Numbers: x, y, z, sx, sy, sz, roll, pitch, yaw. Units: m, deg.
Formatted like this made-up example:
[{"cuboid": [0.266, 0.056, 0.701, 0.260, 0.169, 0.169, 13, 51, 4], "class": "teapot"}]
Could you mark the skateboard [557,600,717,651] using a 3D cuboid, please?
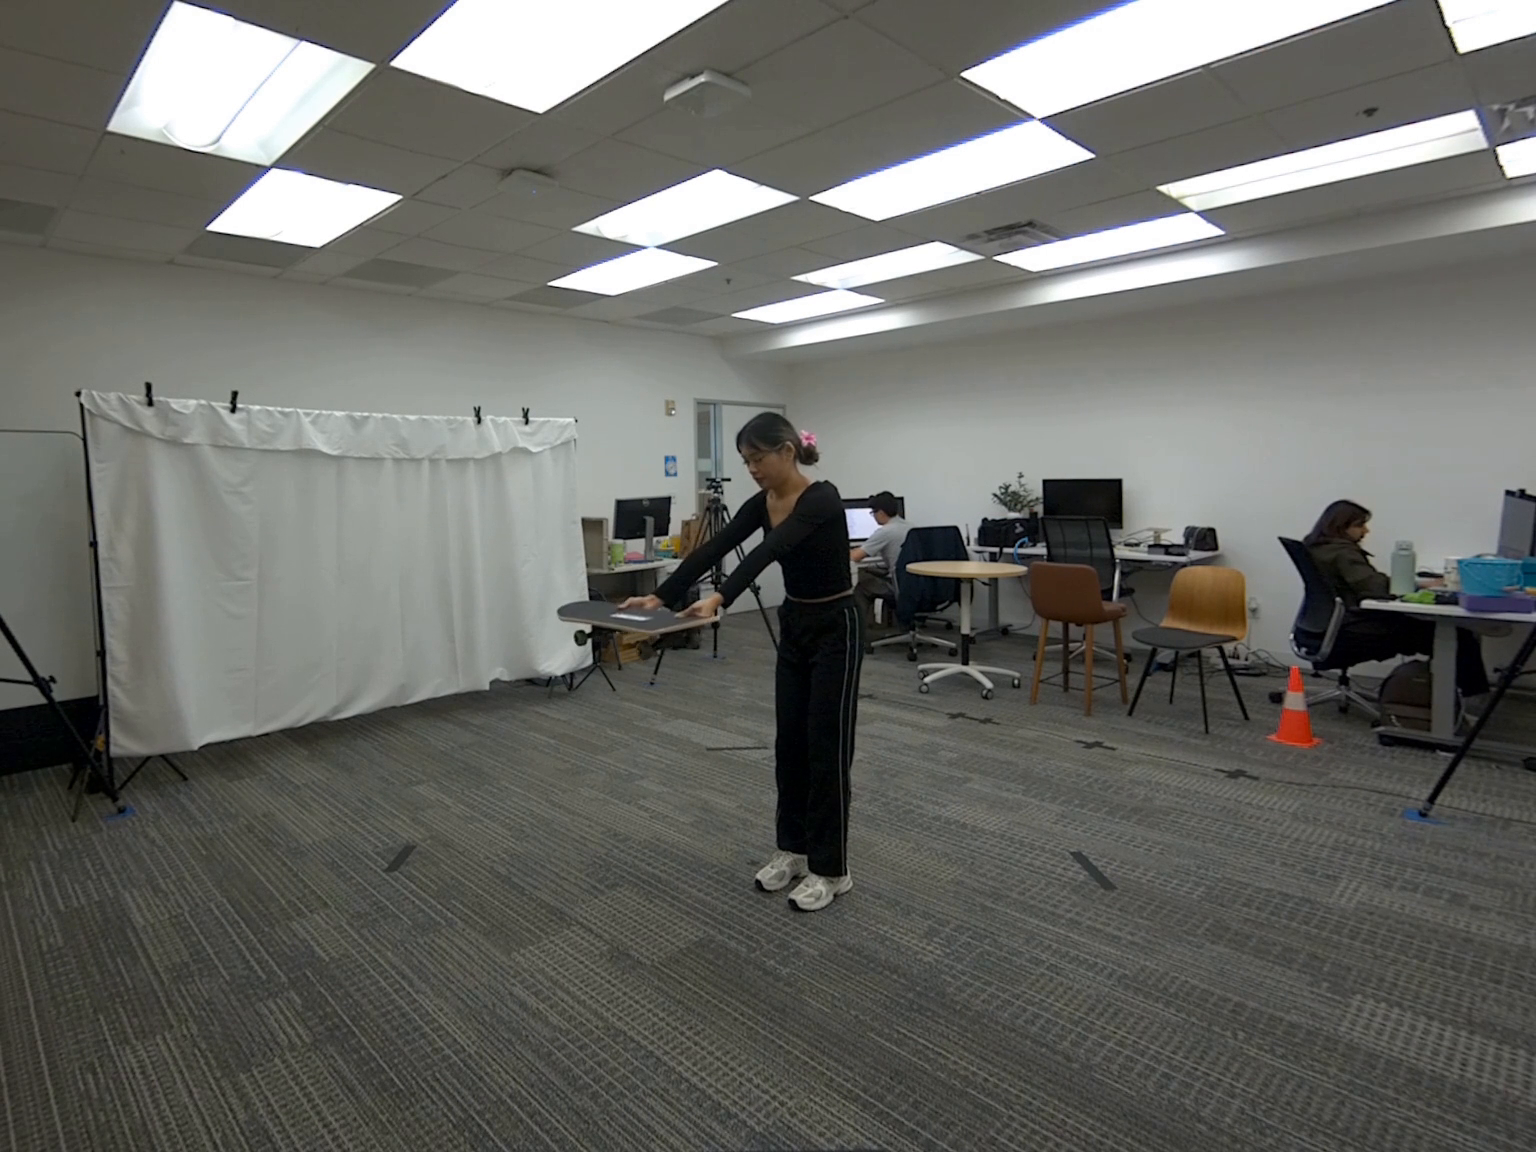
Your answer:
[{"cuboid": [-0.391, 0.162, 2.497, 0.189, 0.109, 0.807, -15, 10, -35], "class": "skateboard"}]
